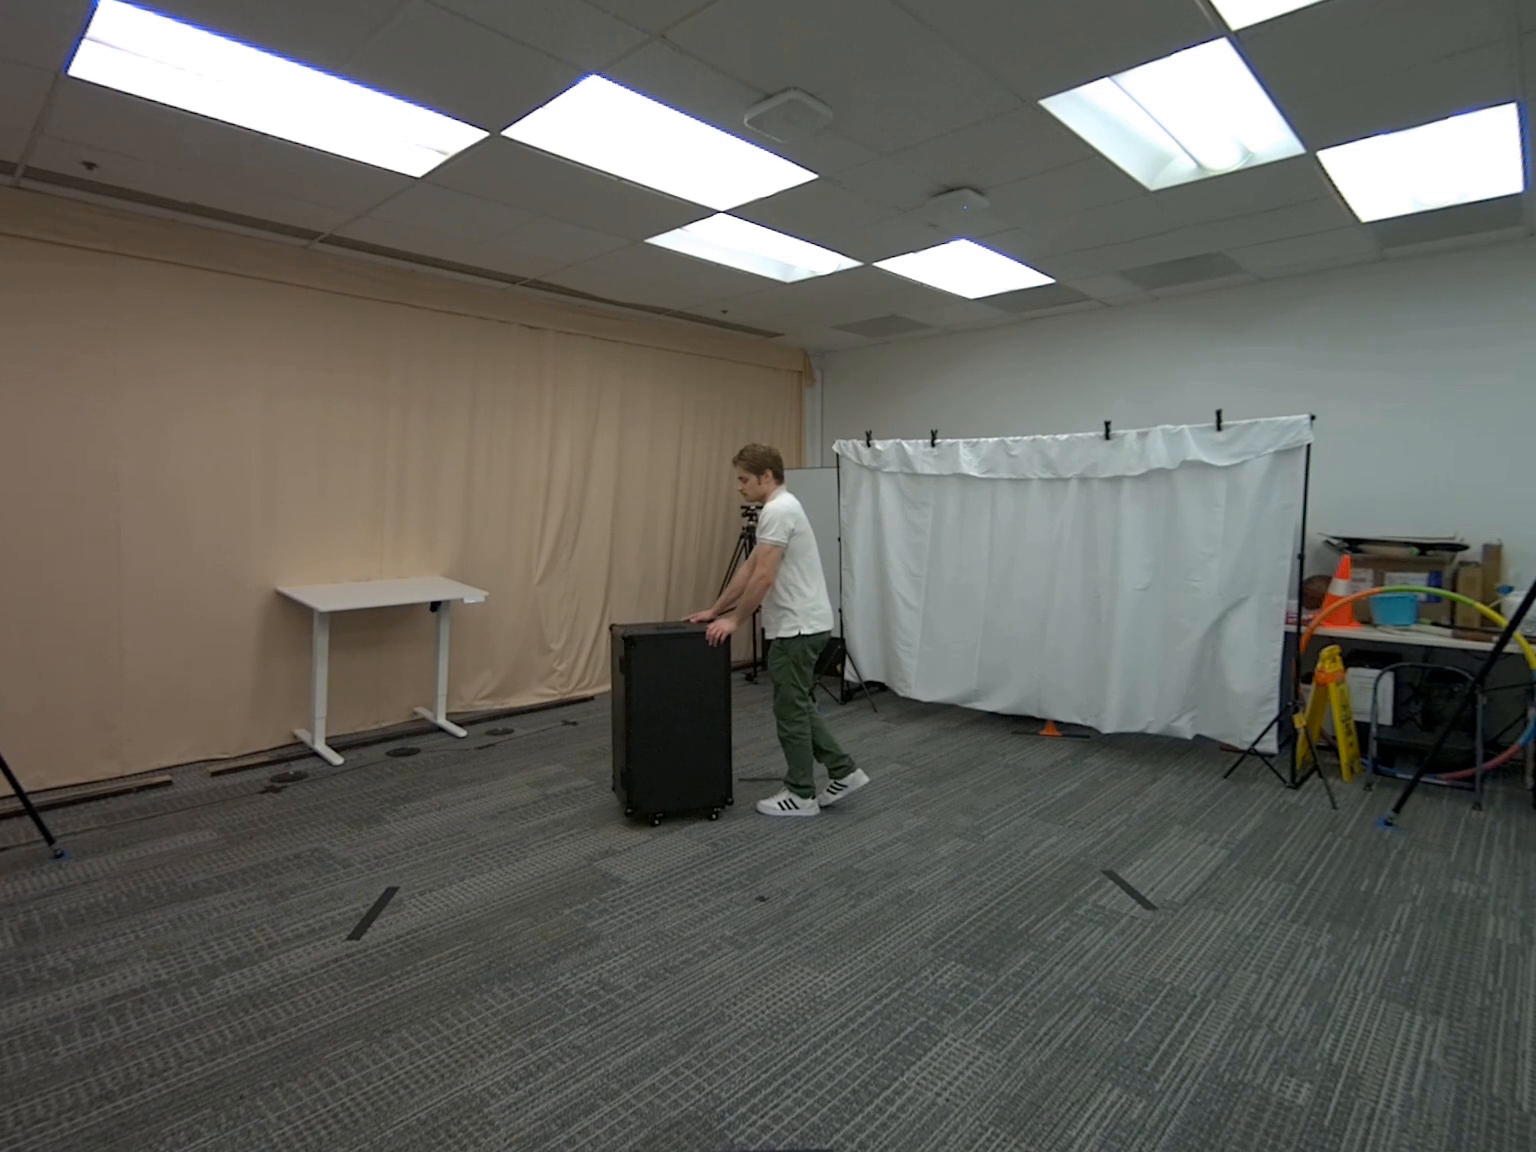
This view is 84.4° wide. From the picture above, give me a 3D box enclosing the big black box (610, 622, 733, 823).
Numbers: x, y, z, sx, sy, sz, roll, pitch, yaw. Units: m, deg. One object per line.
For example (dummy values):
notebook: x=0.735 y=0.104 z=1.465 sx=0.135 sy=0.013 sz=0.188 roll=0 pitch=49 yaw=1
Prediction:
big black box: x=-0.453 y=0.656 z=3.814 sx=0.513 sy=0.867 sz=0.393 roll=-2 pitch=3 yaw=-19
